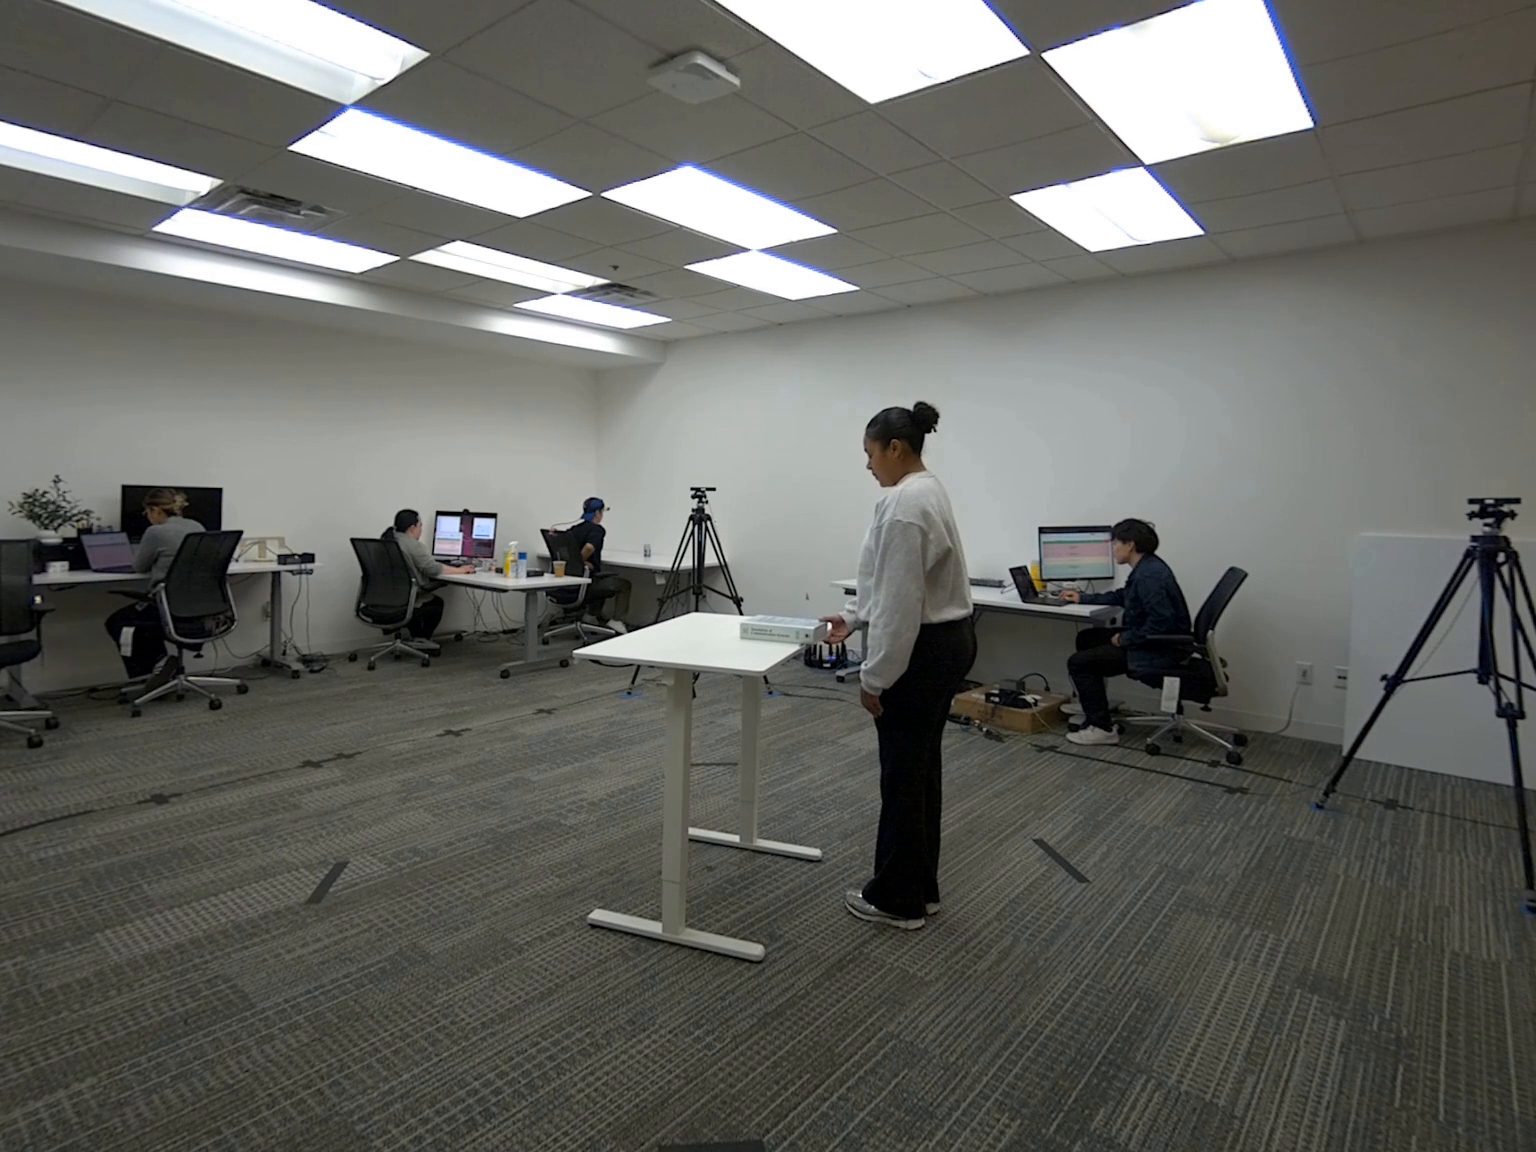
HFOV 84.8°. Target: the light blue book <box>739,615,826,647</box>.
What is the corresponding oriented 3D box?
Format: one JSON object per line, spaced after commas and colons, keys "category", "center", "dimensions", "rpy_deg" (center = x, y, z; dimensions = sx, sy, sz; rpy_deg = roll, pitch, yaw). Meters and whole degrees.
{"category": "light blue book", "center": [0.049, 0.183, 2.921], "dimensions": [0.267, 0.059, 0.187], "rpy_deg": [4, 5, 23]}
